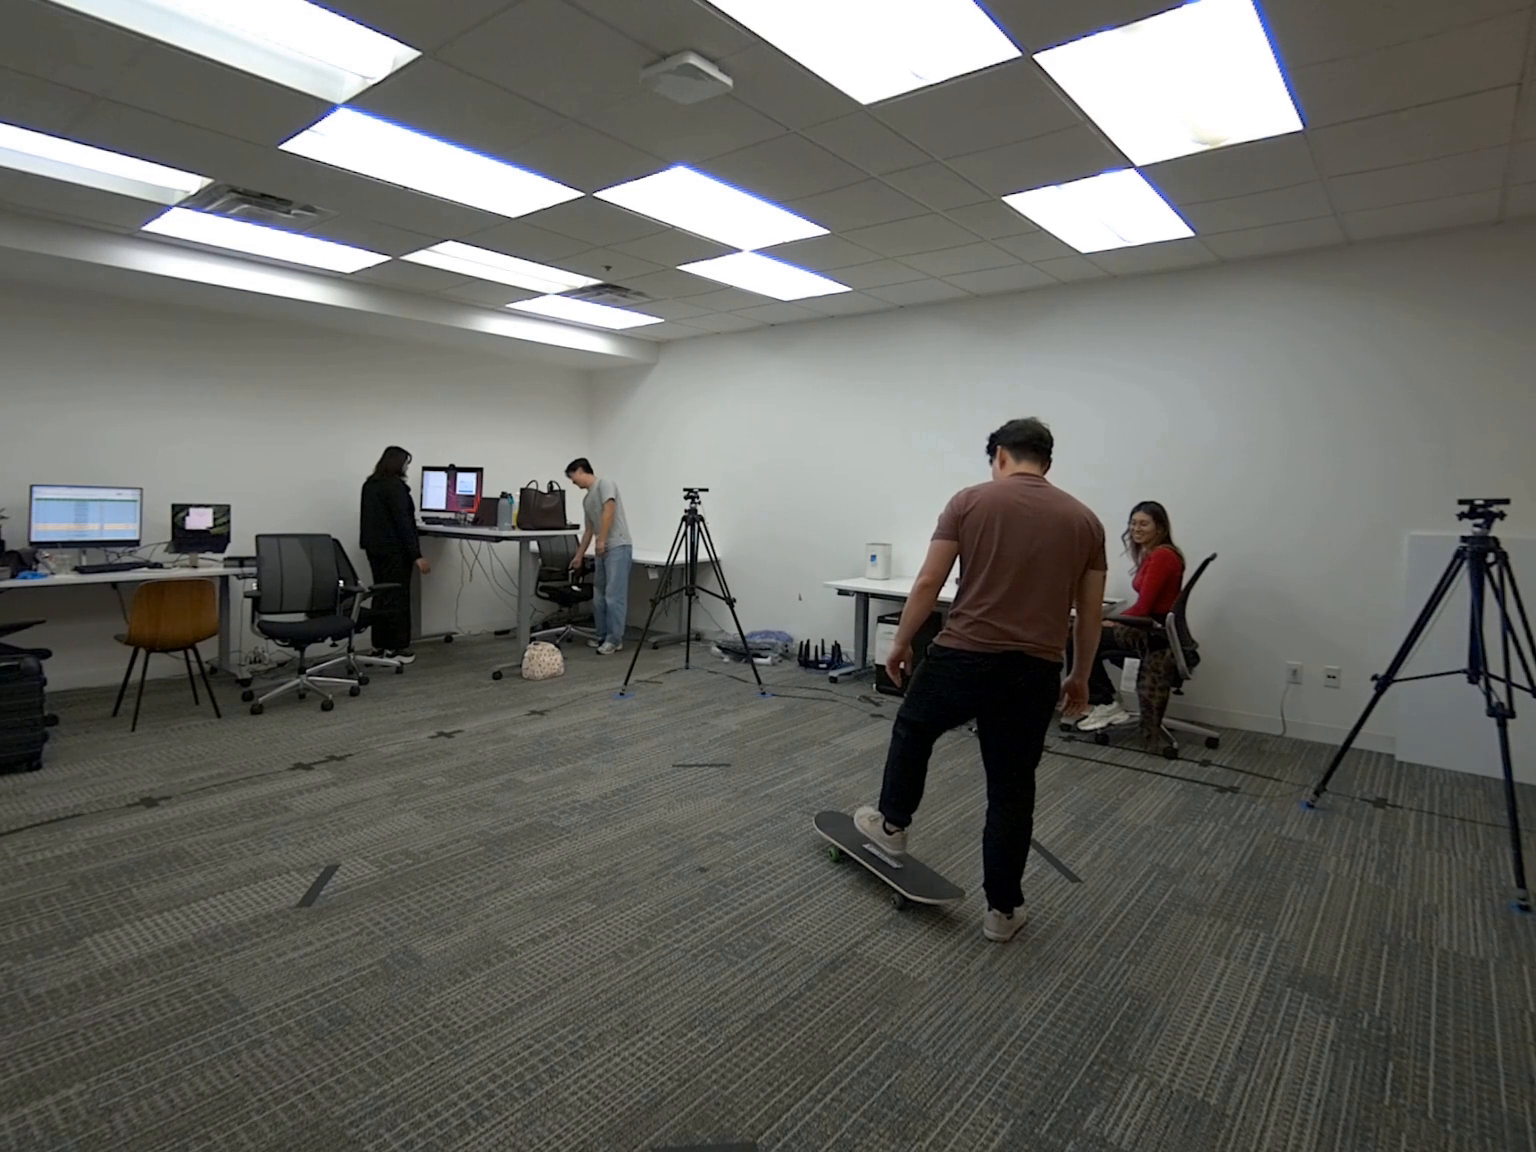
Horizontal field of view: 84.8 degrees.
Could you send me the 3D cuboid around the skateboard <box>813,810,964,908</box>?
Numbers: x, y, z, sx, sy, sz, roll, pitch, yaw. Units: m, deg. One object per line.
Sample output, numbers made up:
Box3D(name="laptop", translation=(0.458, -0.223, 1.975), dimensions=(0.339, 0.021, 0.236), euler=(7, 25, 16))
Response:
Box3D(name="skateboard", translation=(0.403, 1.030, 3.058), dimensions=(0.189, 0.110, 0.807), euler=(-1, 6, -26))
